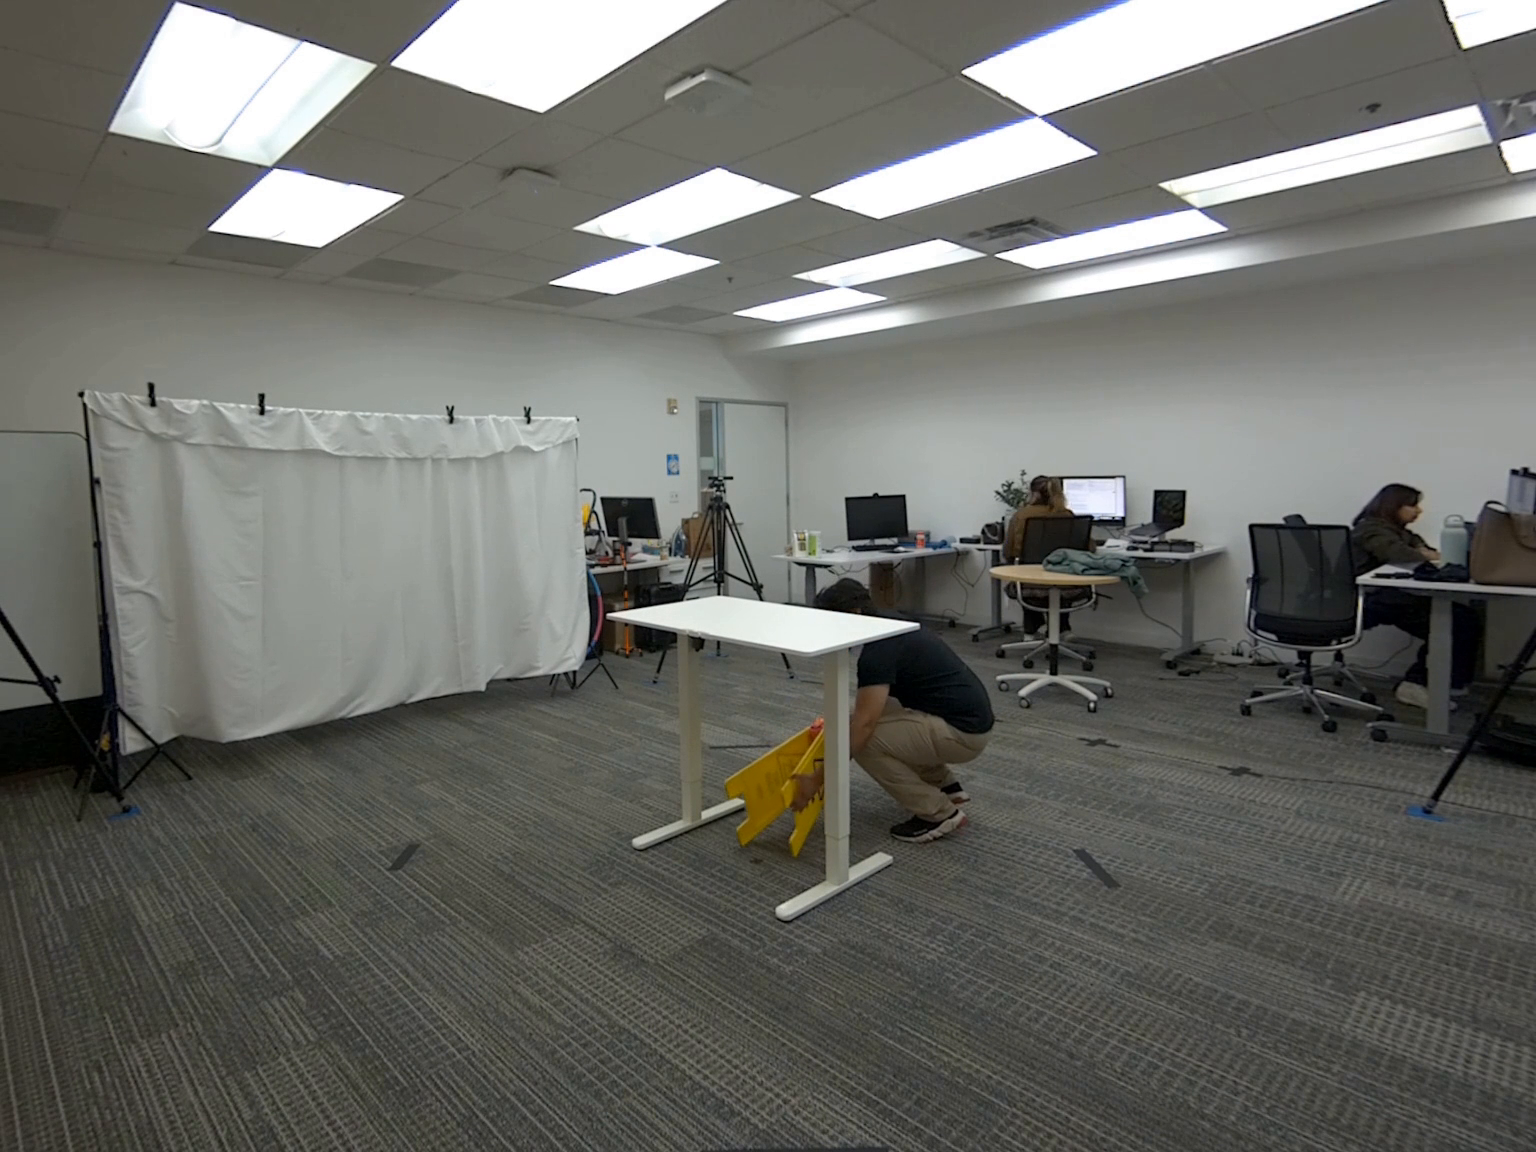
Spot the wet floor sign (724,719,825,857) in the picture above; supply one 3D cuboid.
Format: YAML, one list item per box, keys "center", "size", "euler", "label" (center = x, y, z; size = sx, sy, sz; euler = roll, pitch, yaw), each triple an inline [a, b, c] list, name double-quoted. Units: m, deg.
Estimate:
- center: [0.142, 0.771, 3.362]
  size: [0.297, 0.277, 0.640]
  euler: [-1, 22, 36]
  label: "wet floor sign"
